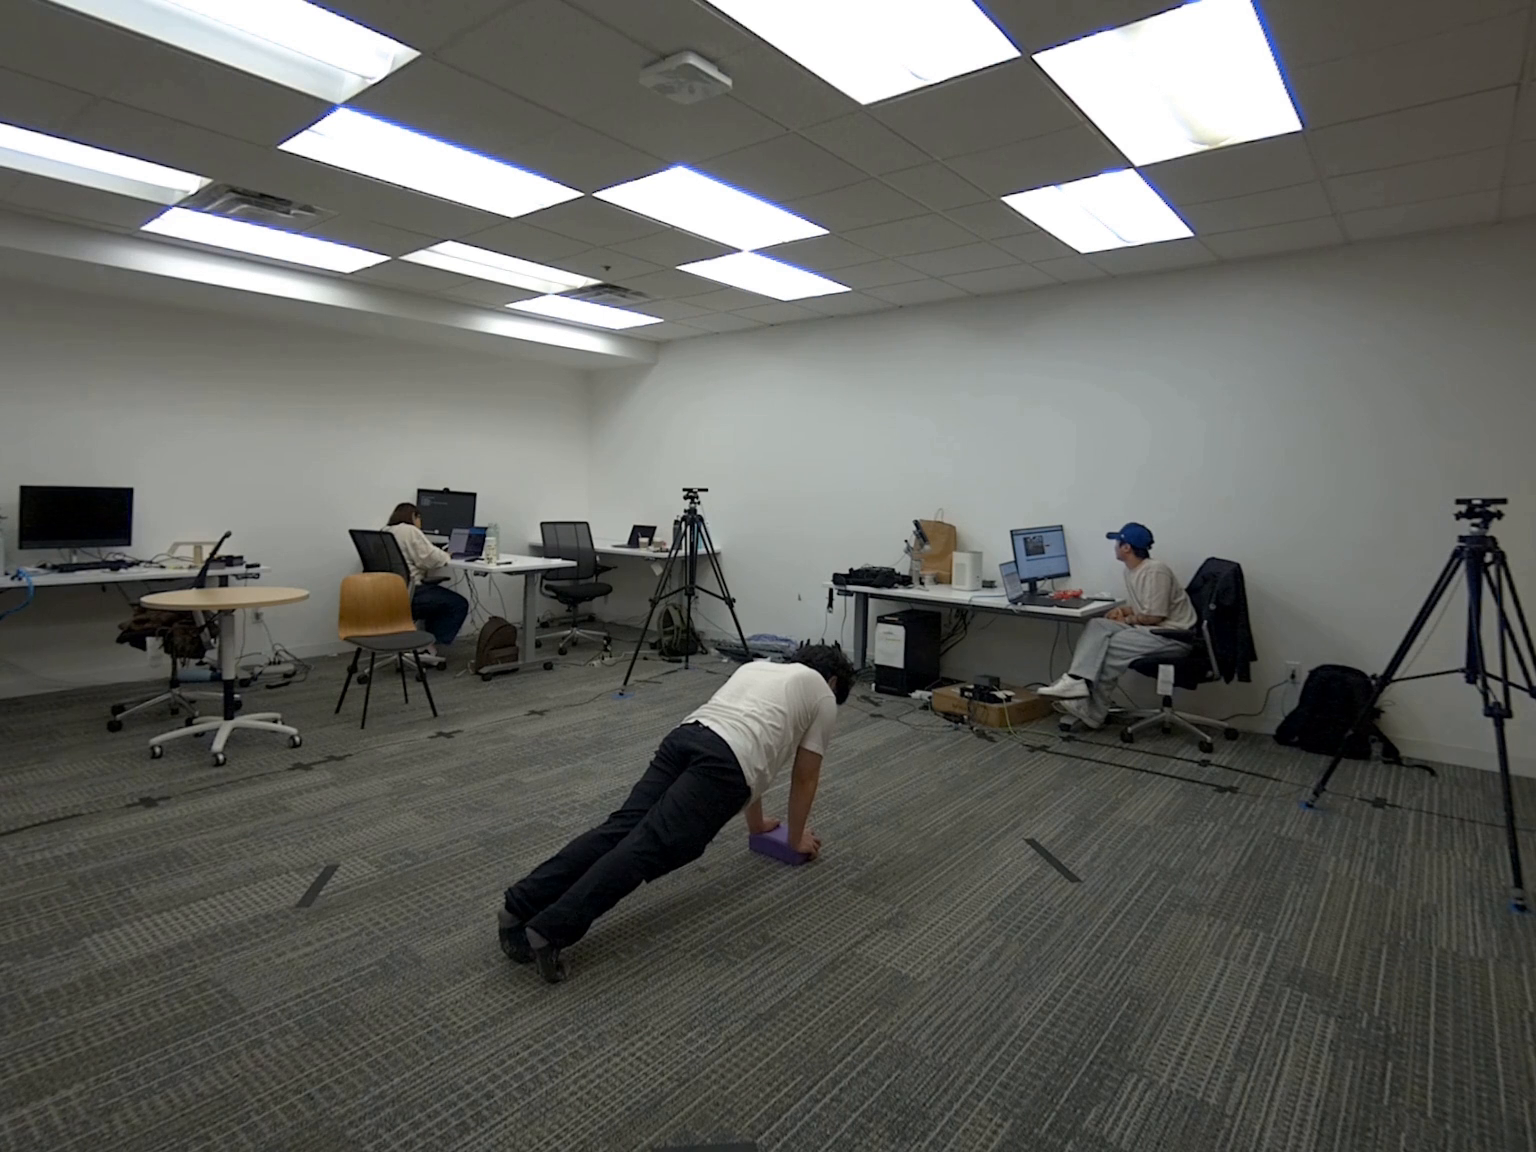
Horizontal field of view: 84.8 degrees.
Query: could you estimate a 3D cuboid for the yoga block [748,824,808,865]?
[{"bbox_3d":[0.049,1.025,3.277,0.237,0.076,0.144,5,6,38],"label":"yoga block"}]
